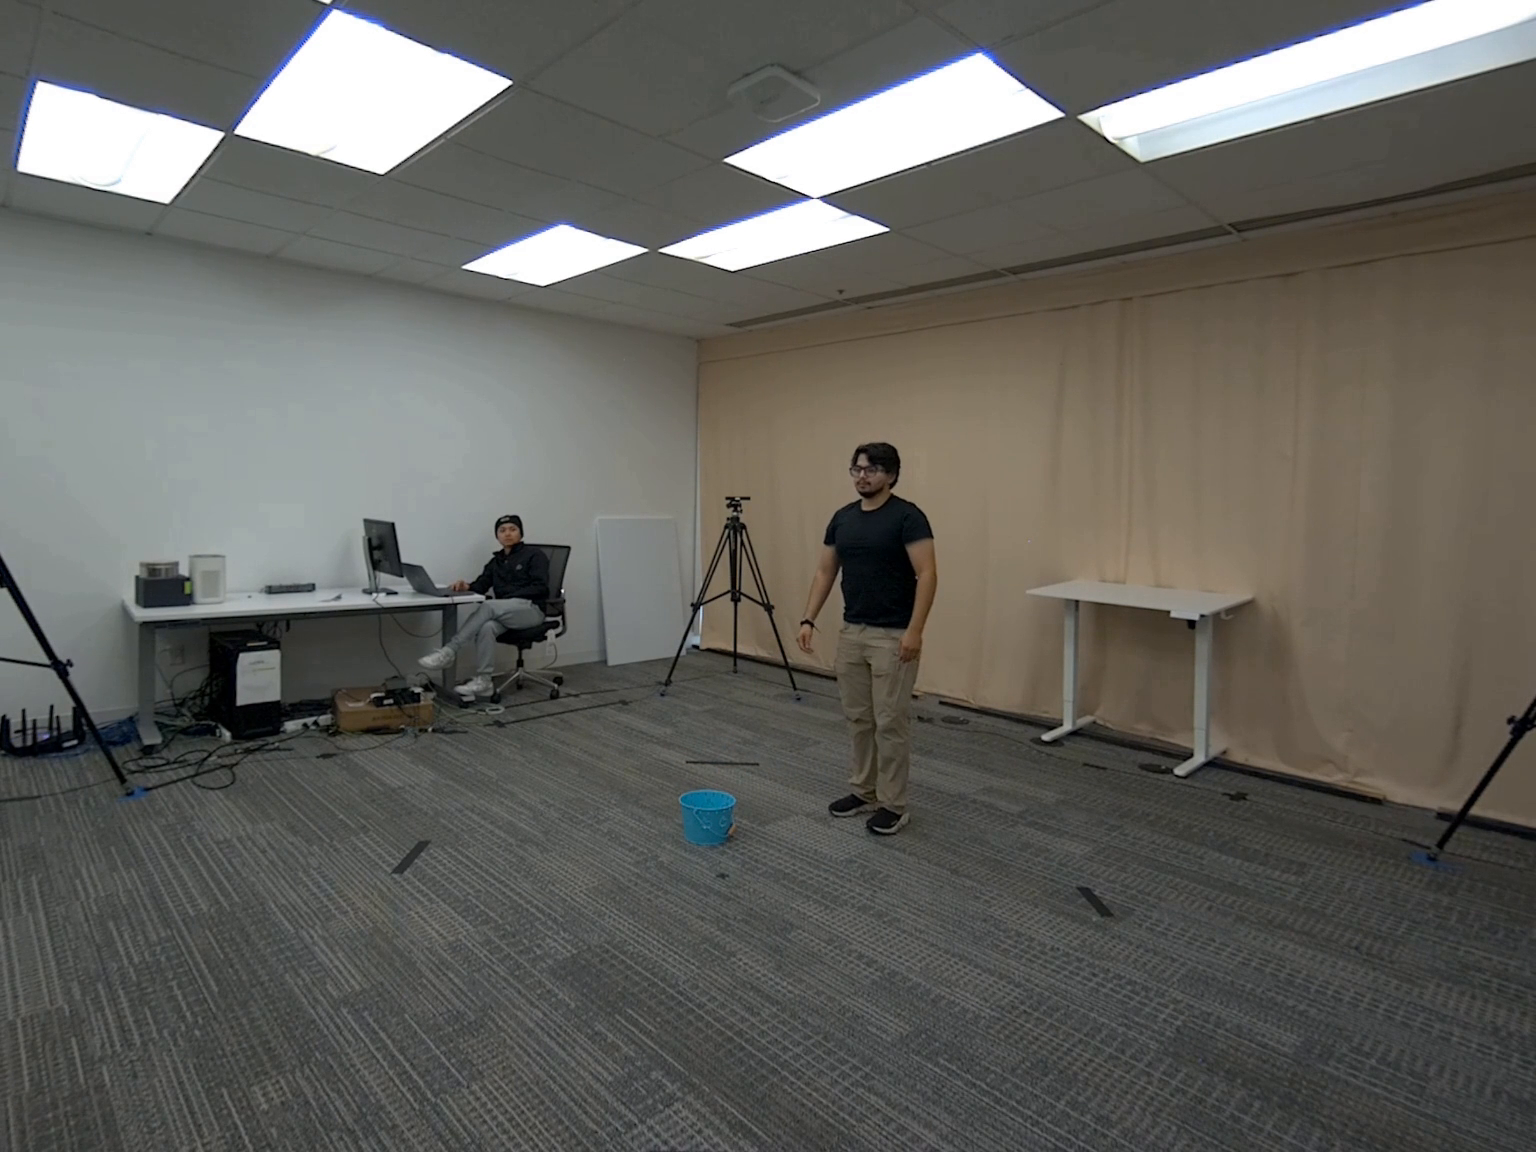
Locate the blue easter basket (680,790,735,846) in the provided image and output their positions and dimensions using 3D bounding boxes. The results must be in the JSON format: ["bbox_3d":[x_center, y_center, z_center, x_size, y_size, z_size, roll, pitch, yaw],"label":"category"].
[{"bbox_3d":[-0.259,0.997,3.466,0.243,0.155,0.244,1,4,-1],"label":"blue easter basket"}]
